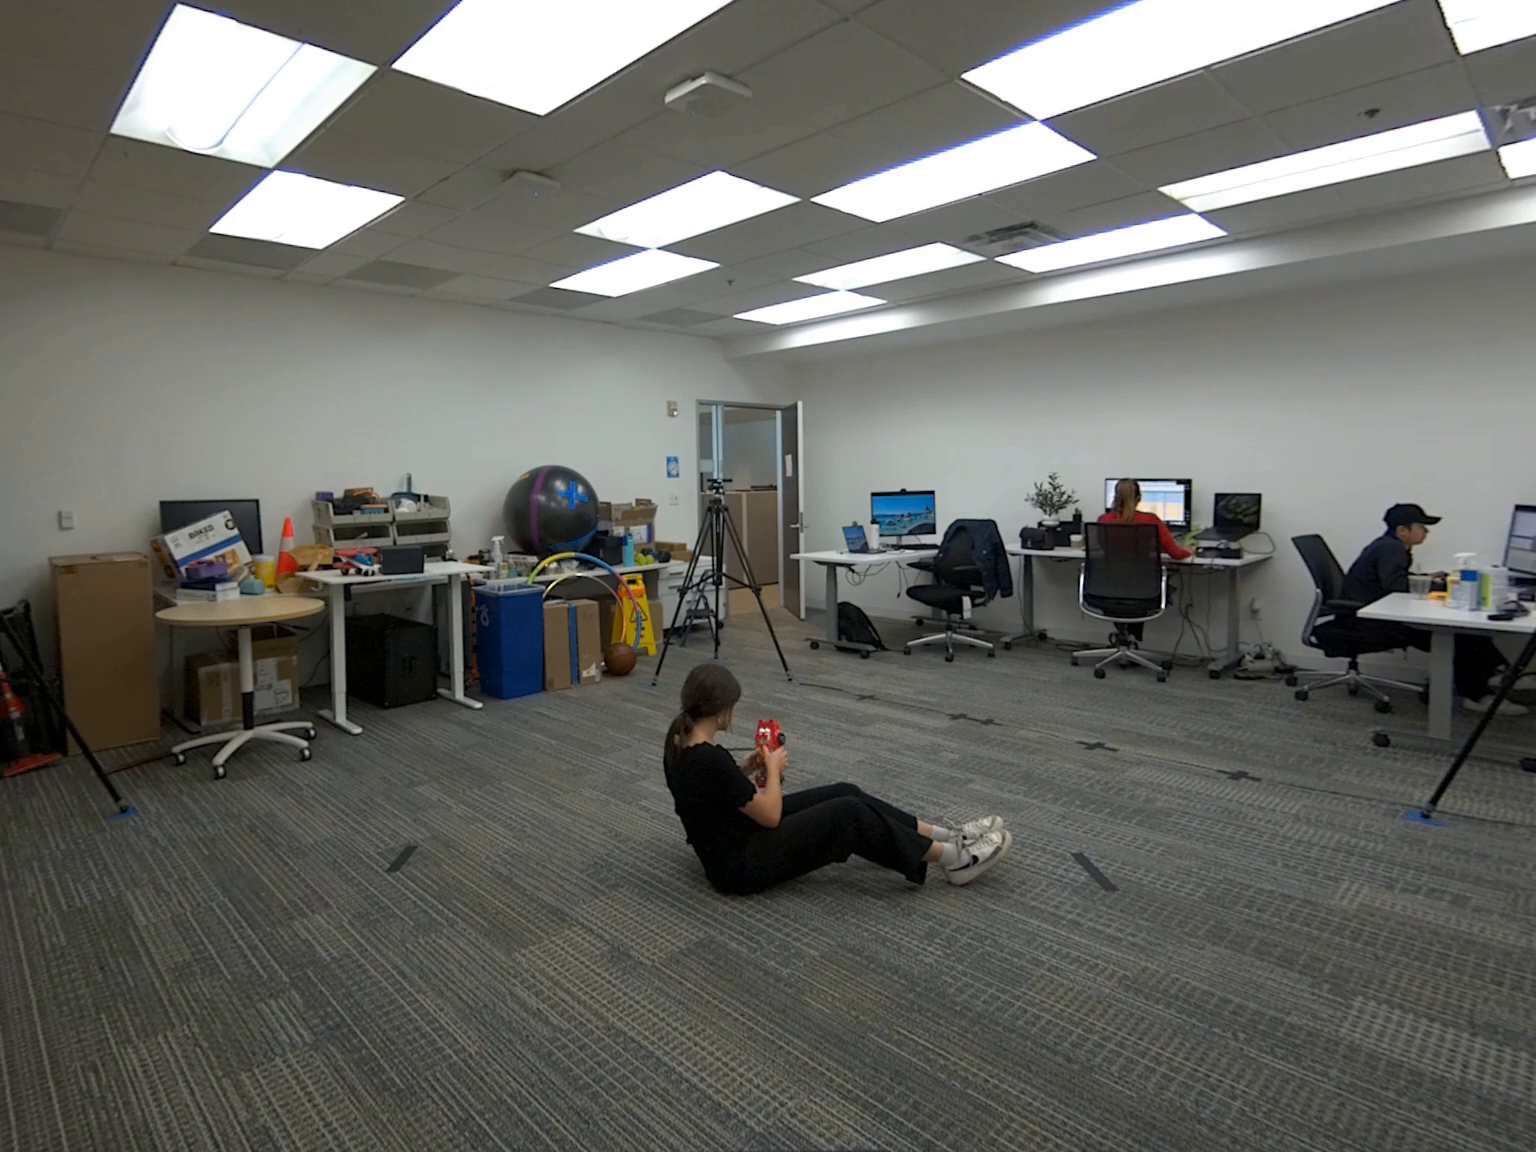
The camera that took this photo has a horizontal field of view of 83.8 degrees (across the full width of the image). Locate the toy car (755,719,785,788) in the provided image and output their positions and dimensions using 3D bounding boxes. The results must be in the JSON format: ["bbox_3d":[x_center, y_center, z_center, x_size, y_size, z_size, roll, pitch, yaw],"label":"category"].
[{"bbox_3d":[0.000,0.675,3.217,0.133,0.257,0.080,-15,-15,42],"label":"toy car"}]
